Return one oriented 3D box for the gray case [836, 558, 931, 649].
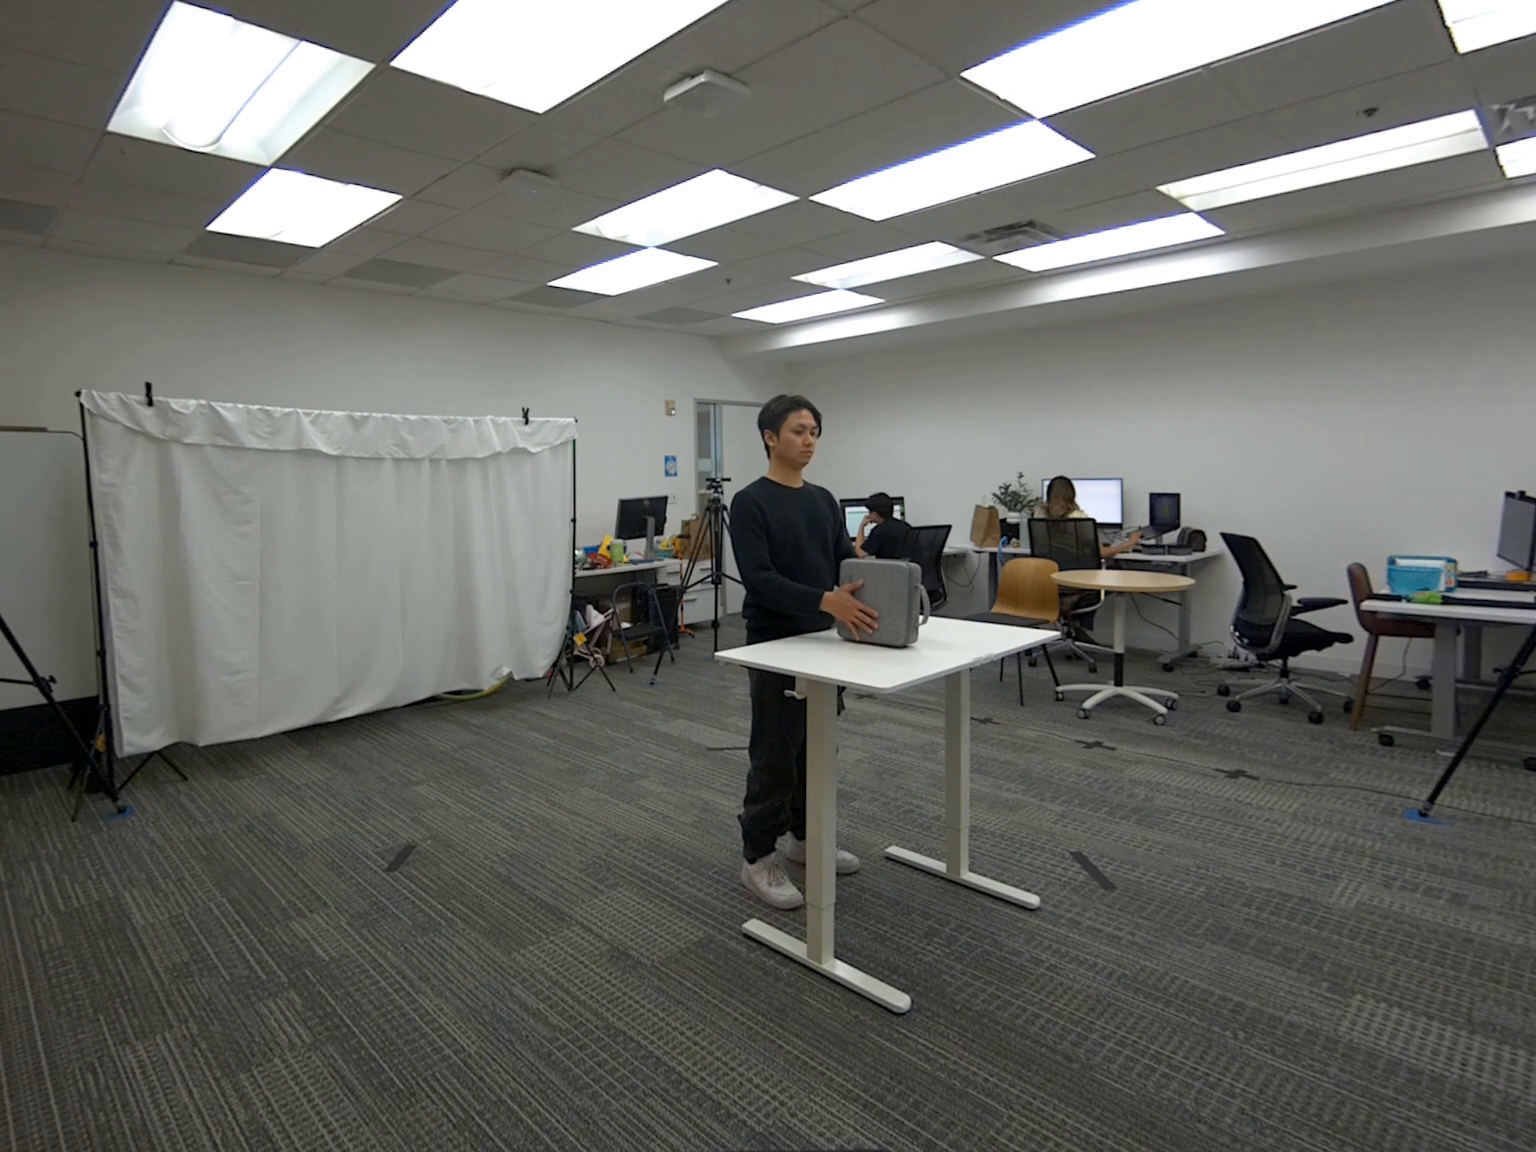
[{"bbox_3d":[0.355,0.079,2.623,0.268,0.257,0.101,3,-3,42],"label":"gray case"}]
